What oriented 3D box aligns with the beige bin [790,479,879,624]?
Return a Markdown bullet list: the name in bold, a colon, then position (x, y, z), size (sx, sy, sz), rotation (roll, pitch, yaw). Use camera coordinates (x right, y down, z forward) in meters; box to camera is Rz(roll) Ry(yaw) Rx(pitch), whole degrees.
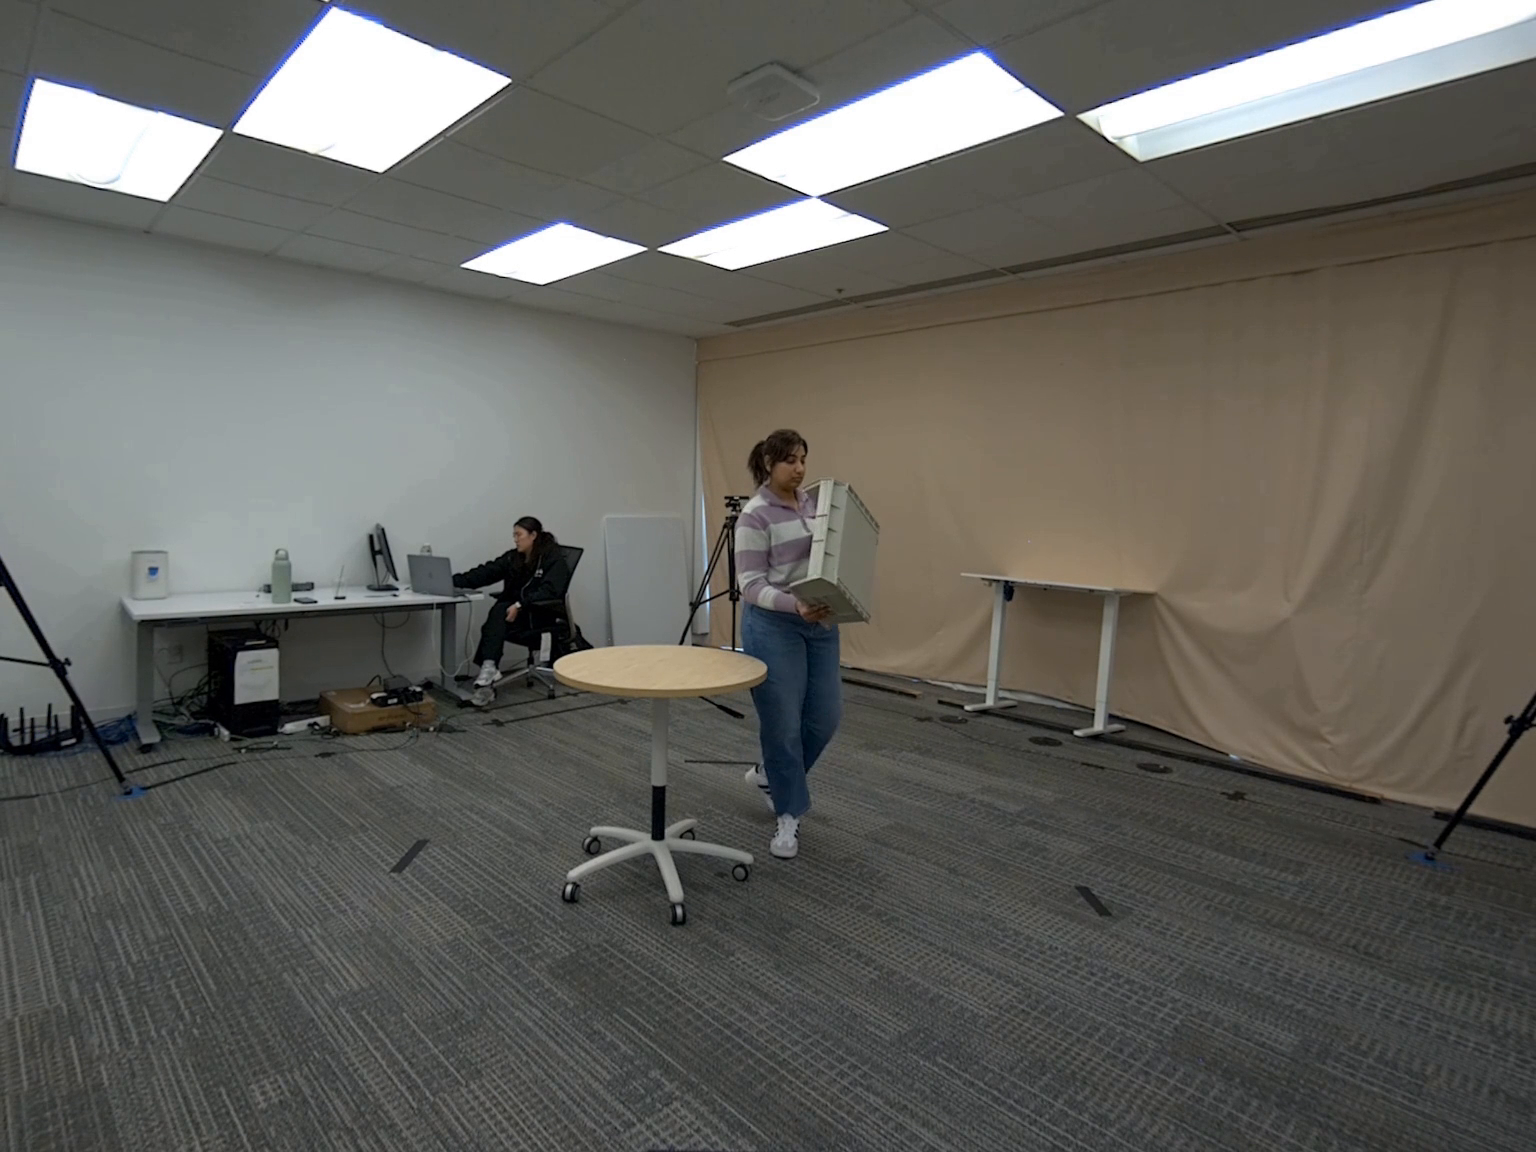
- **beige bin**: position (0.227, -0.080, 3.055), size (0.192, 0.428, 0.365), rotation (-8, -32, 30)
